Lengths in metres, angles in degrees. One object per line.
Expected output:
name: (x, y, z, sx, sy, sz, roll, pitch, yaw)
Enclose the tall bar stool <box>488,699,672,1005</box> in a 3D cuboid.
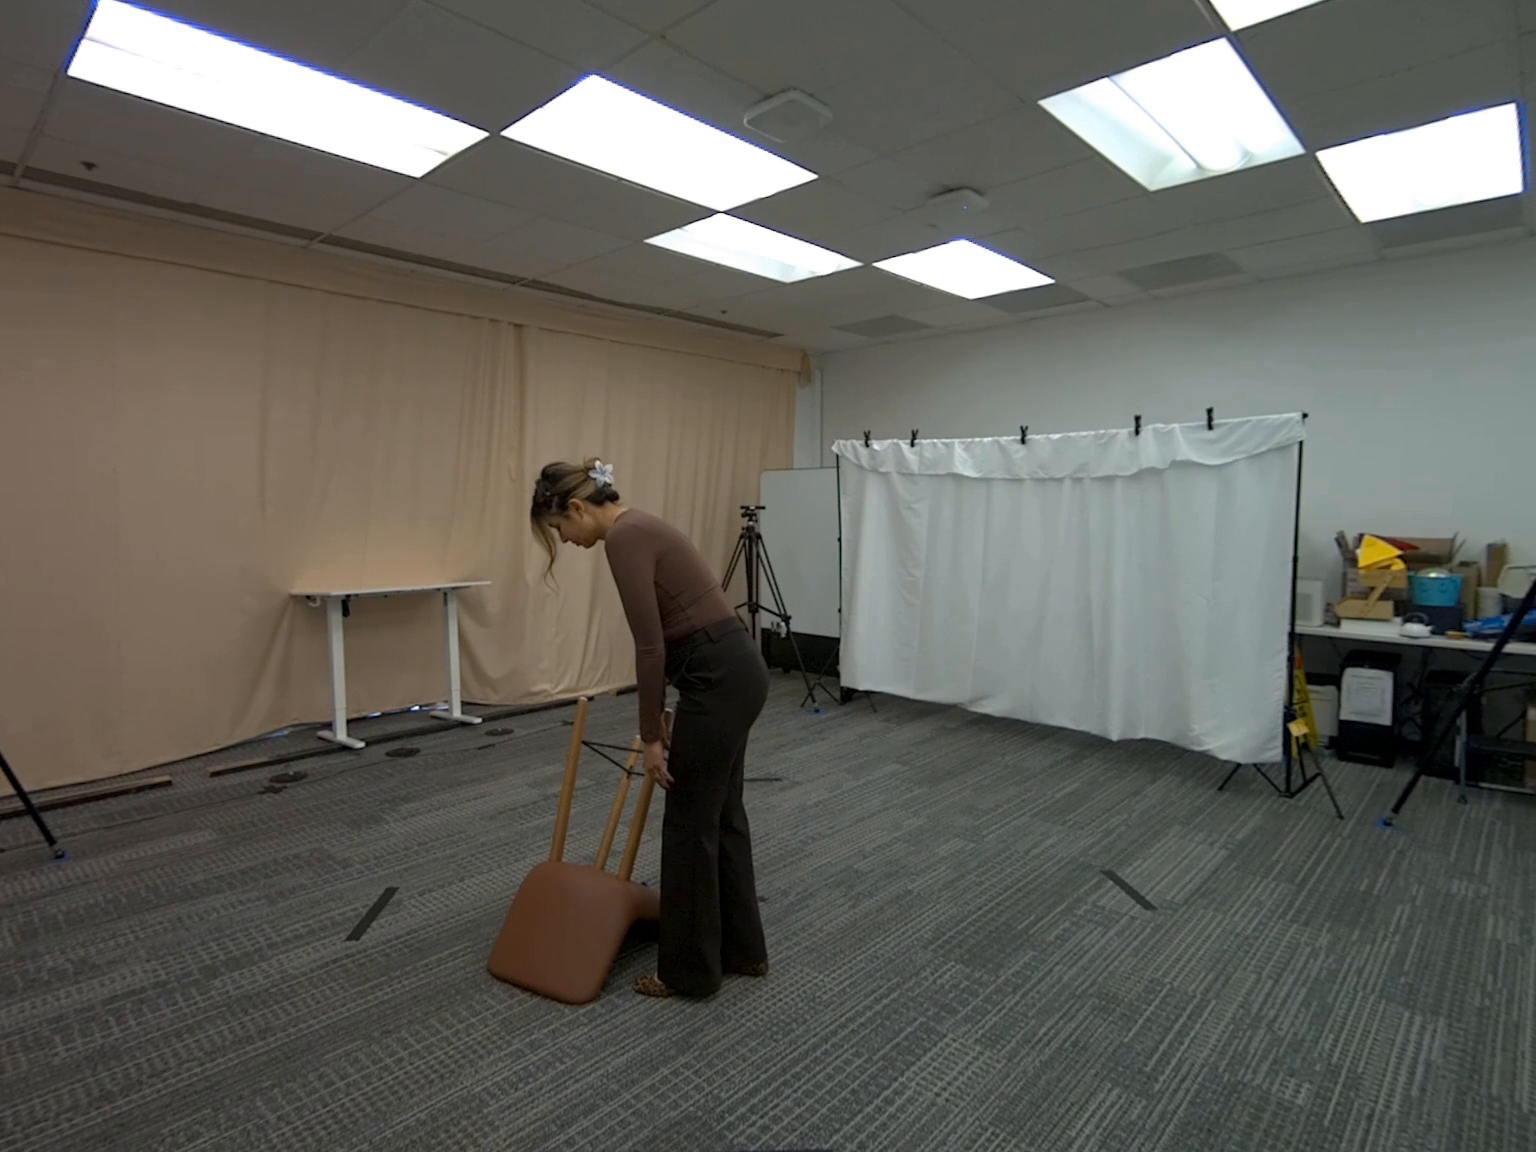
tall bar stool: (-0.502, 0.917, 2.780, 0.469, 0.896, 0.452, 1, -30, 27)
